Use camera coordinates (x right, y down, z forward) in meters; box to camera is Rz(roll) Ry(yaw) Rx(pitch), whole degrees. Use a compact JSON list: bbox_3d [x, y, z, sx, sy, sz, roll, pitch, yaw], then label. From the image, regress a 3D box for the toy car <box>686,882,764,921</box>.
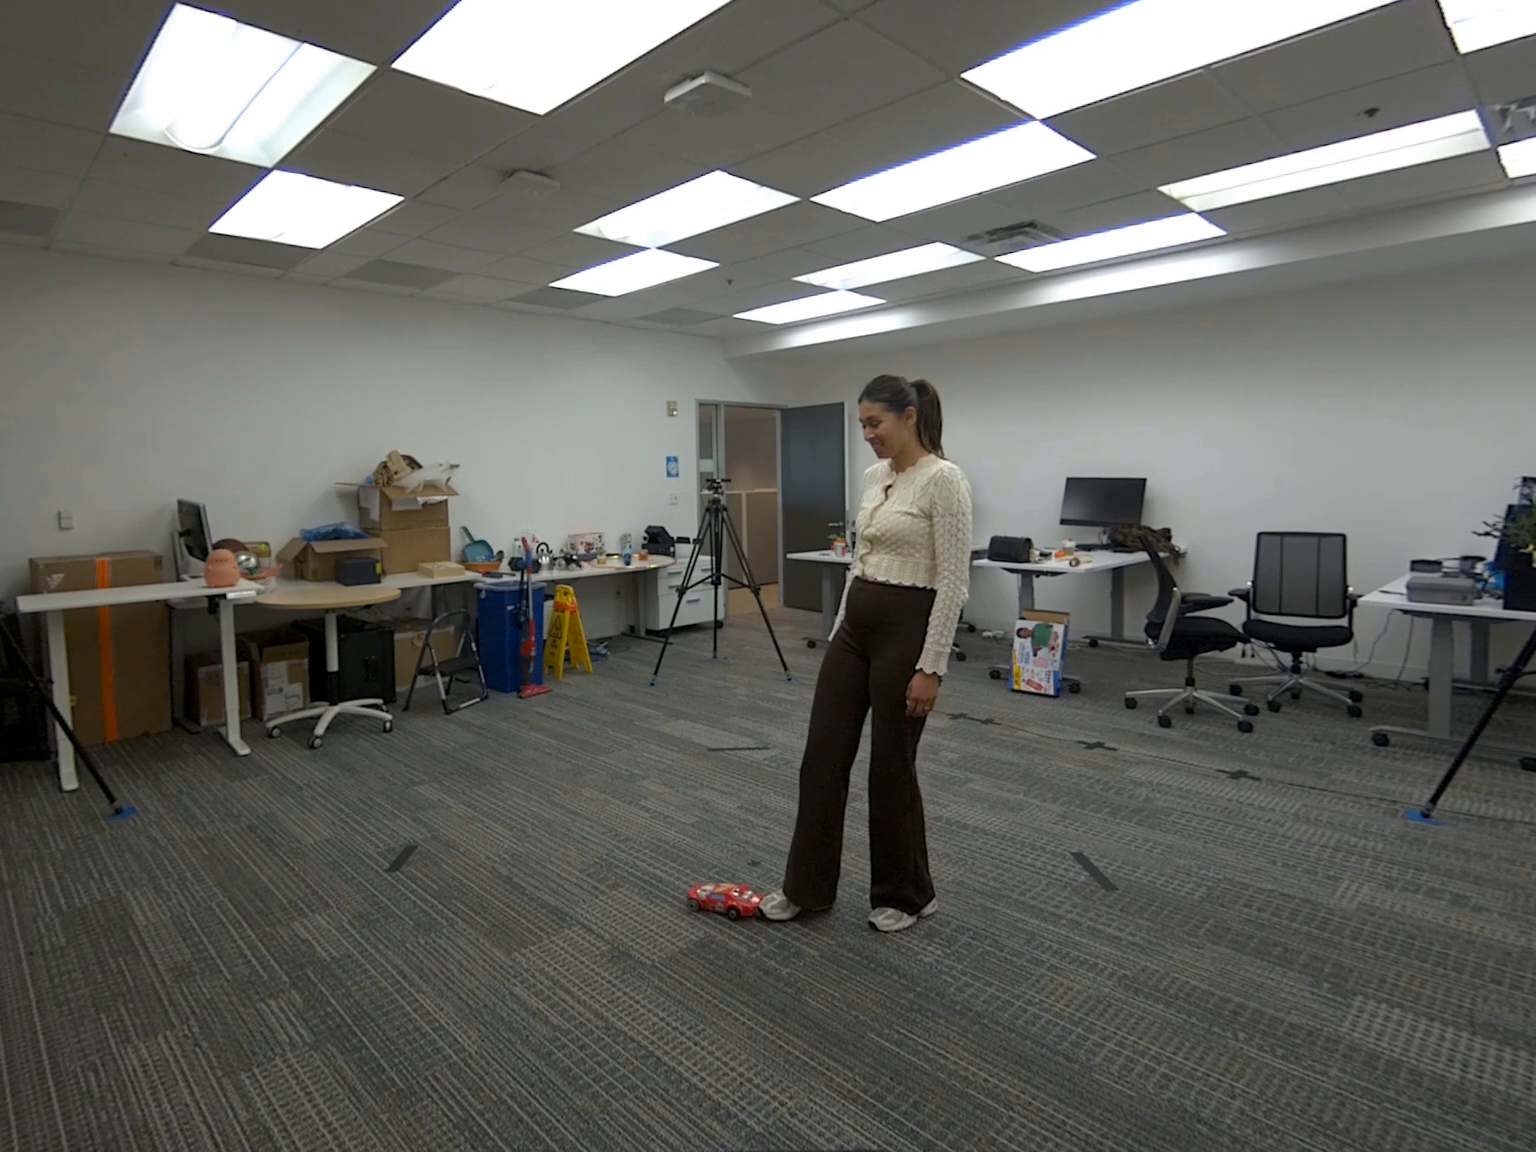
[{"bbox_3d":[-0.128,1.055,2.771,0.259,0.083,0.128,-10,2,26],"label":"toy car"}]
